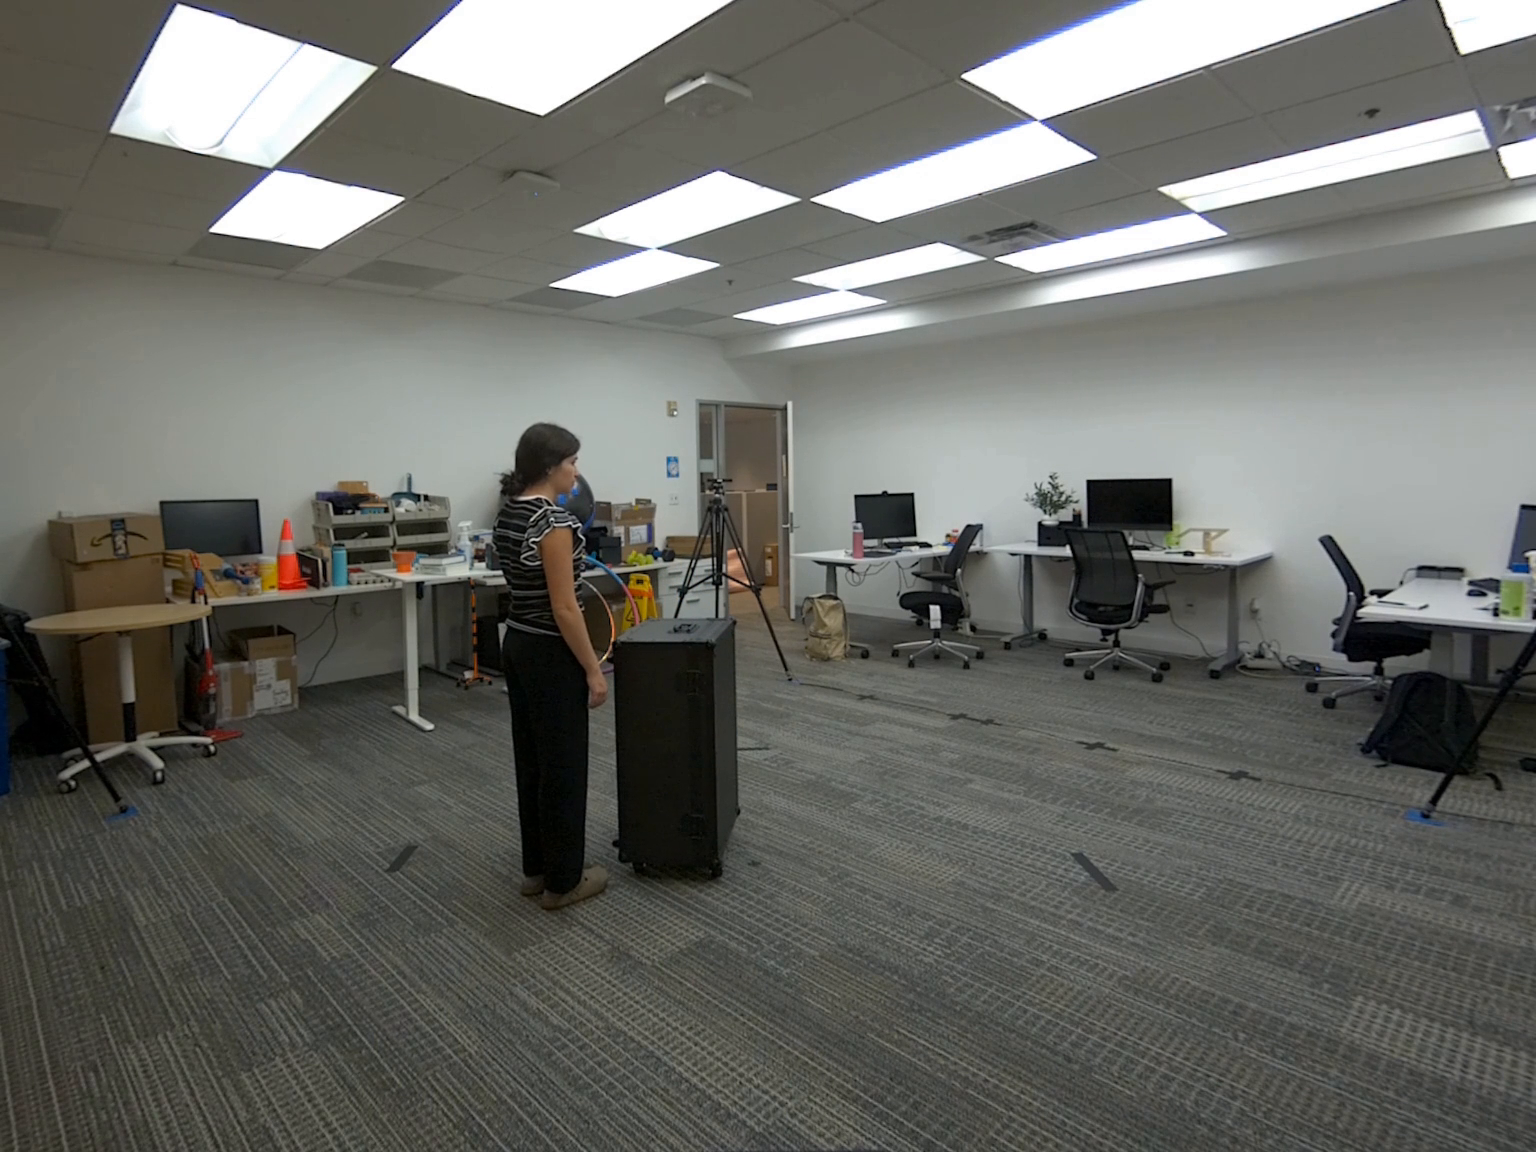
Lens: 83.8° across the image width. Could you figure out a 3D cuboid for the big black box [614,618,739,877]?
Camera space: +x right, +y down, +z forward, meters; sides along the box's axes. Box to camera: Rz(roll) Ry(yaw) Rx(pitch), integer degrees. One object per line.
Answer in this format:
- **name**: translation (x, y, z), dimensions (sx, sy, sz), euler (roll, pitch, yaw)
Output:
- **big black box**: translation (-0.332, 0.616, 3.162), dimensions (0.400, 0.858, 0.519), euler (-1, 5, 8)
